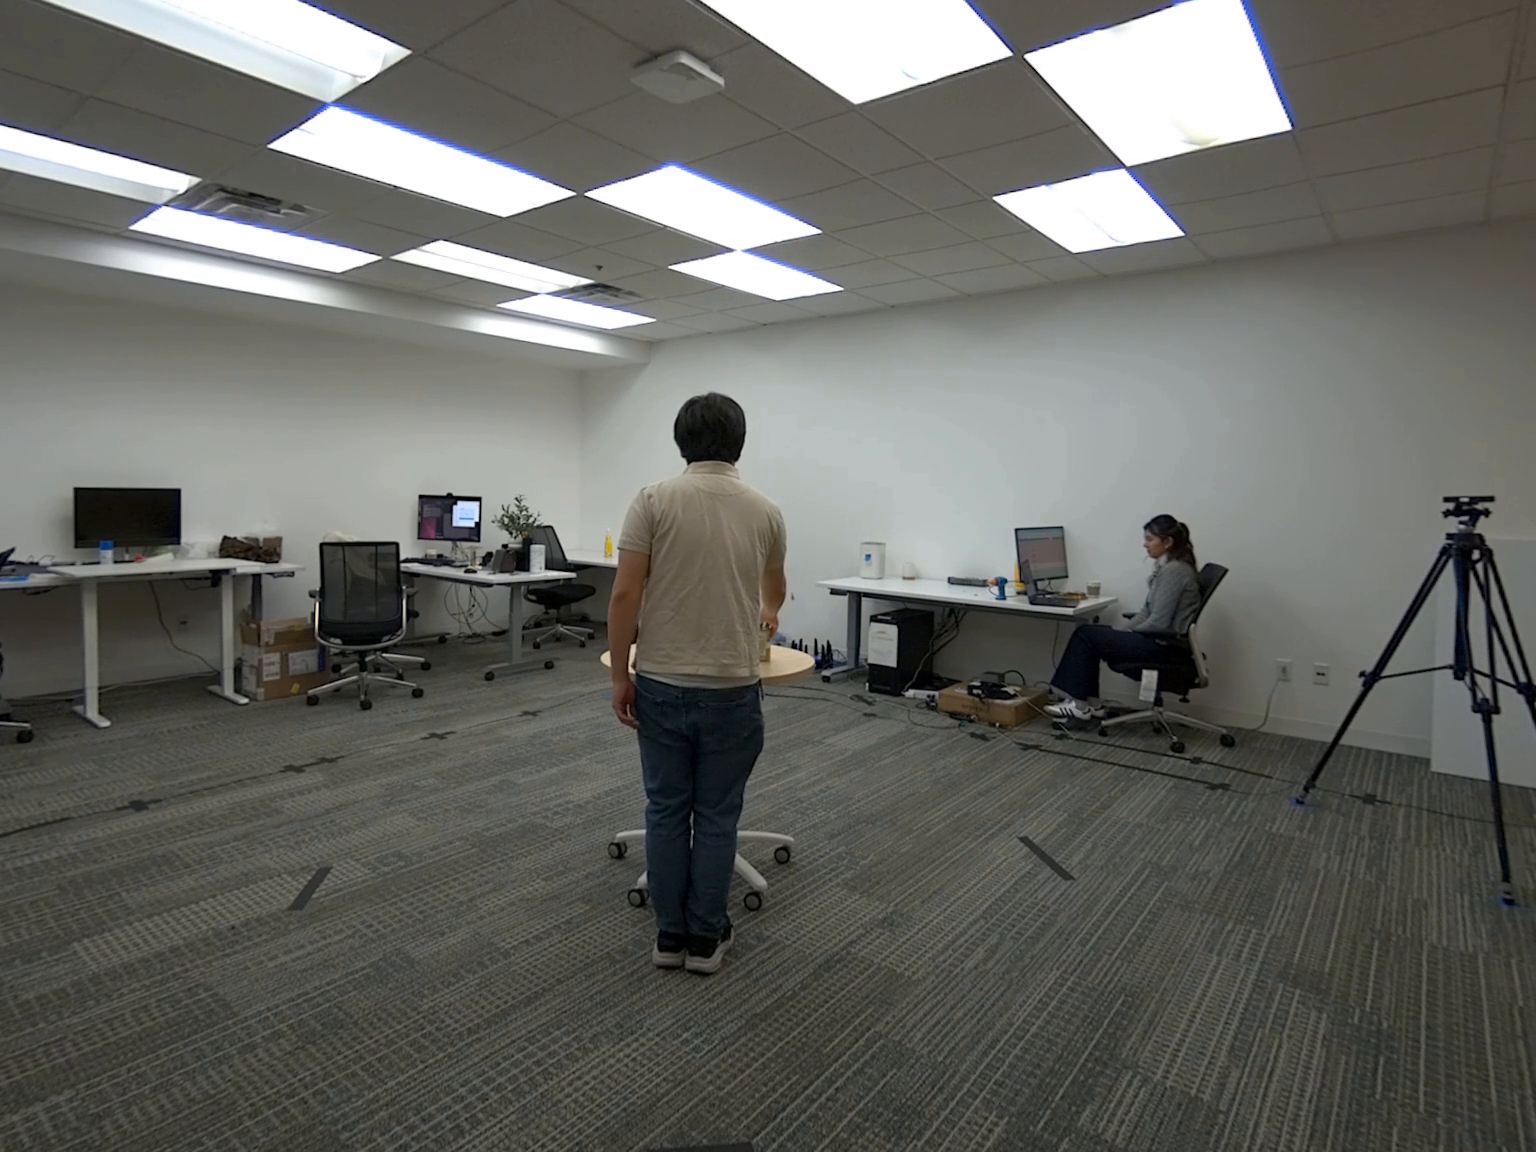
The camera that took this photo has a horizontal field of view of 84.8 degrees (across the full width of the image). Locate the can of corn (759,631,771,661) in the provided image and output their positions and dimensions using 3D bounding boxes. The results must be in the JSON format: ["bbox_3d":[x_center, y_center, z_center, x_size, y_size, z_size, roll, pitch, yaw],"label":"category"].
[{"bbox_3d":[-0.038,0.239,3.016,0.074,0.110,0.075,4,6,-2],"label":"can of corn"}]
